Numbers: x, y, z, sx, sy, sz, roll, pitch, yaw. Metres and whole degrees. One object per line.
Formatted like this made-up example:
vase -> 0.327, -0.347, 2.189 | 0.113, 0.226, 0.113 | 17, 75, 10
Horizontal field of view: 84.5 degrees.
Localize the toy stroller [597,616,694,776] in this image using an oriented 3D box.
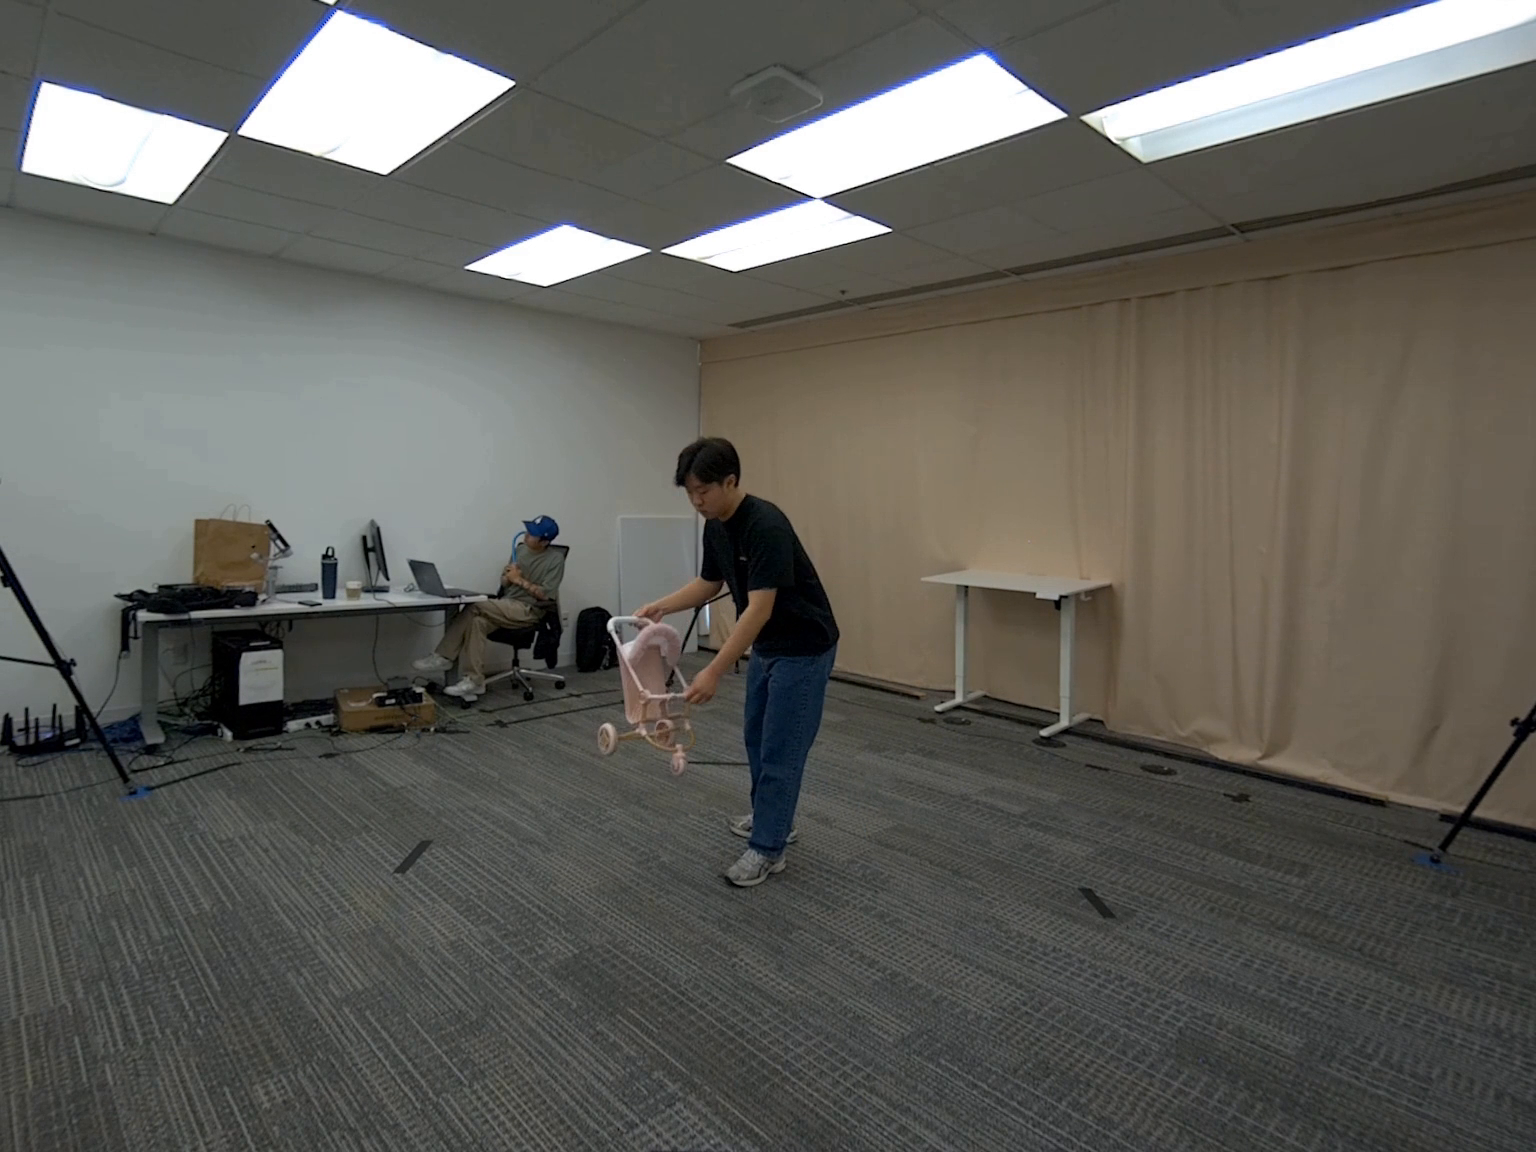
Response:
toy stroller -> -0.395, 0.409, 2.906 | 0.274, 0.538, 0.348 | 5, -9, -37
